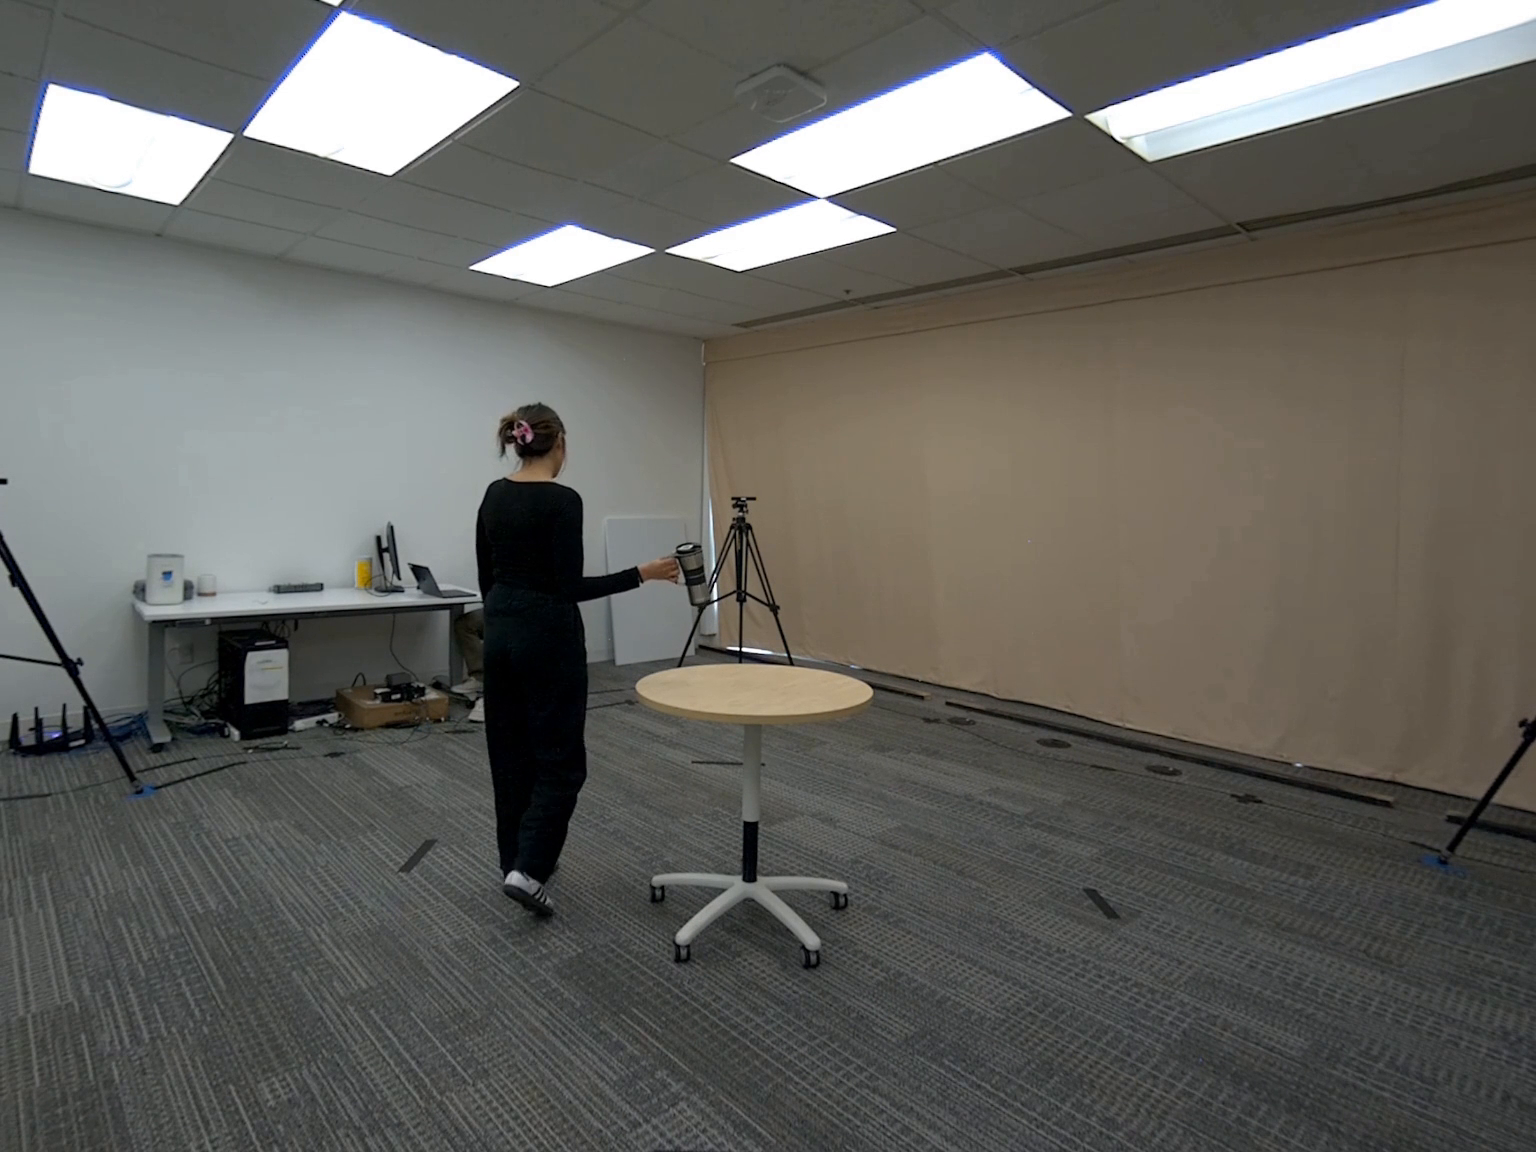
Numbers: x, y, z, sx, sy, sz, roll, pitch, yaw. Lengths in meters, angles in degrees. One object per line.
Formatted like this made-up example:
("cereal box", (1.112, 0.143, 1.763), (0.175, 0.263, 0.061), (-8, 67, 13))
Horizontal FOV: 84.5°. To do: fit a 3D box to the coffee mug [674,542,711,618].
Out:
("coffee mug", (-0.269, -0.004, 2.803), (0.125, 0.200, 0.087), (1, 19, 39))
